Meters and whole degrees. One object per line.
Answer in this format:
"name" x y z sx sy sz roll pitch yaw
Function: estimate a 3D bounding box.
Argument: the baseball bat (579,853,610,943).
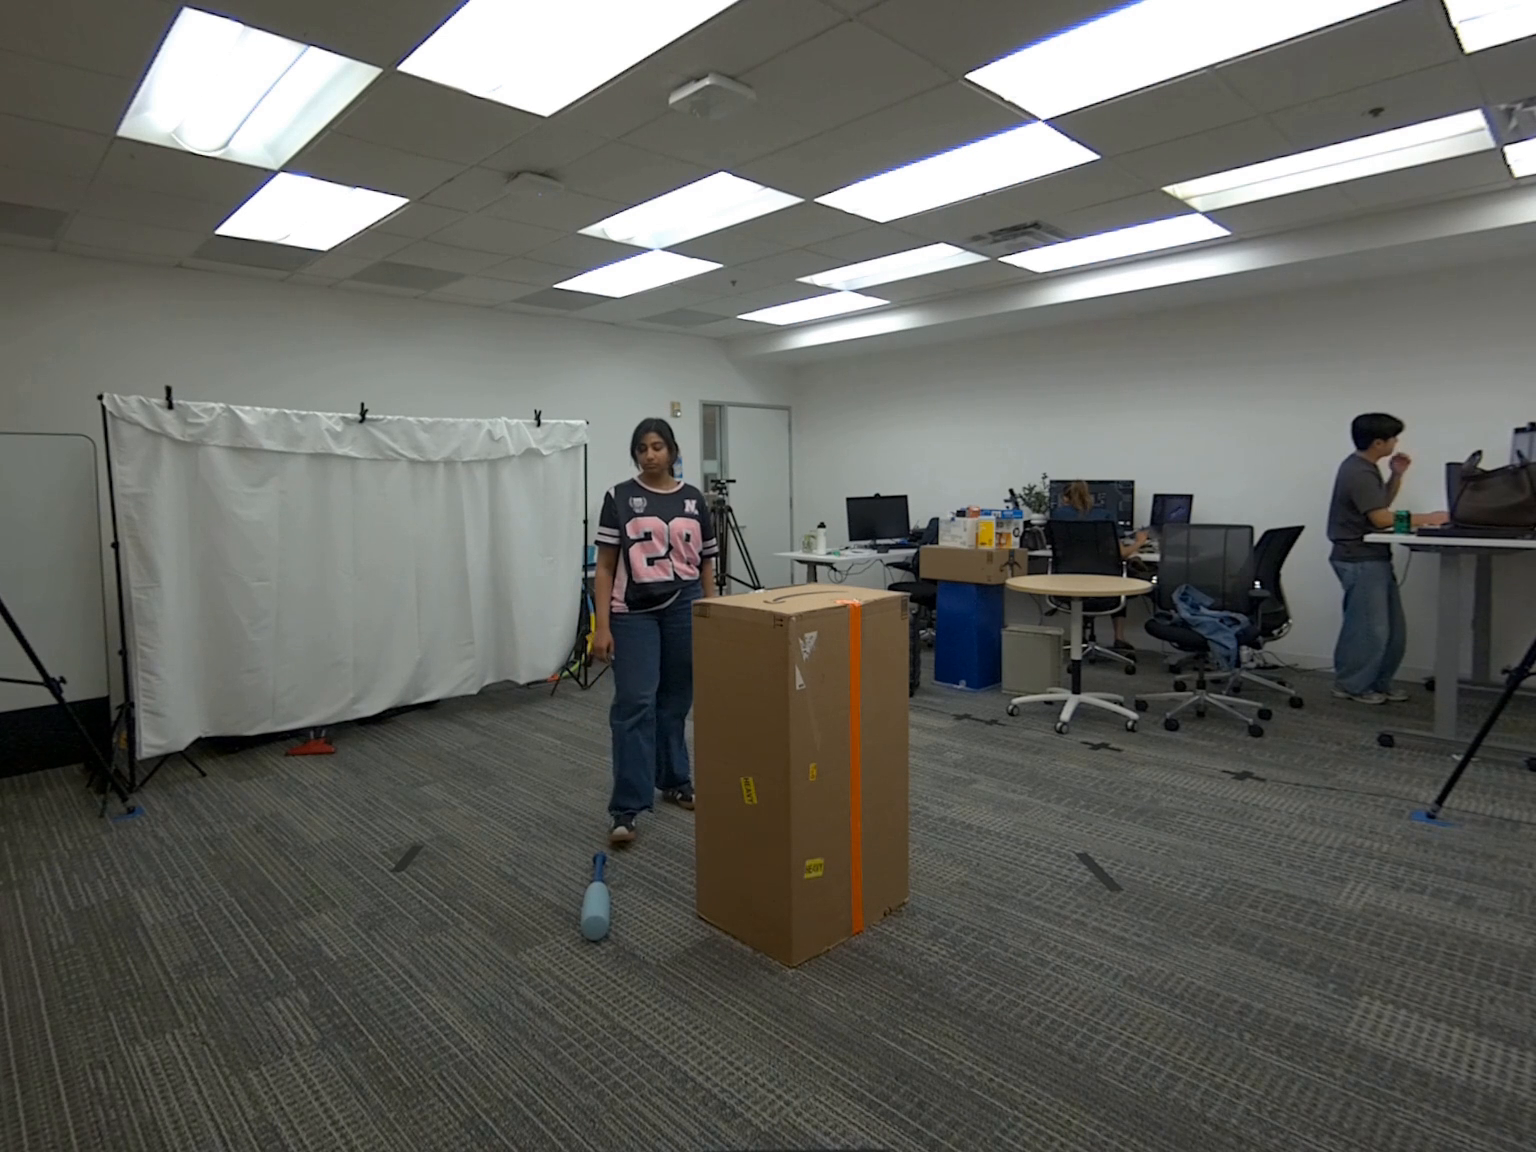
"baseball bat" -0.565 1.052 2.852 0.088 0.089 0.549 -2 5 -9
